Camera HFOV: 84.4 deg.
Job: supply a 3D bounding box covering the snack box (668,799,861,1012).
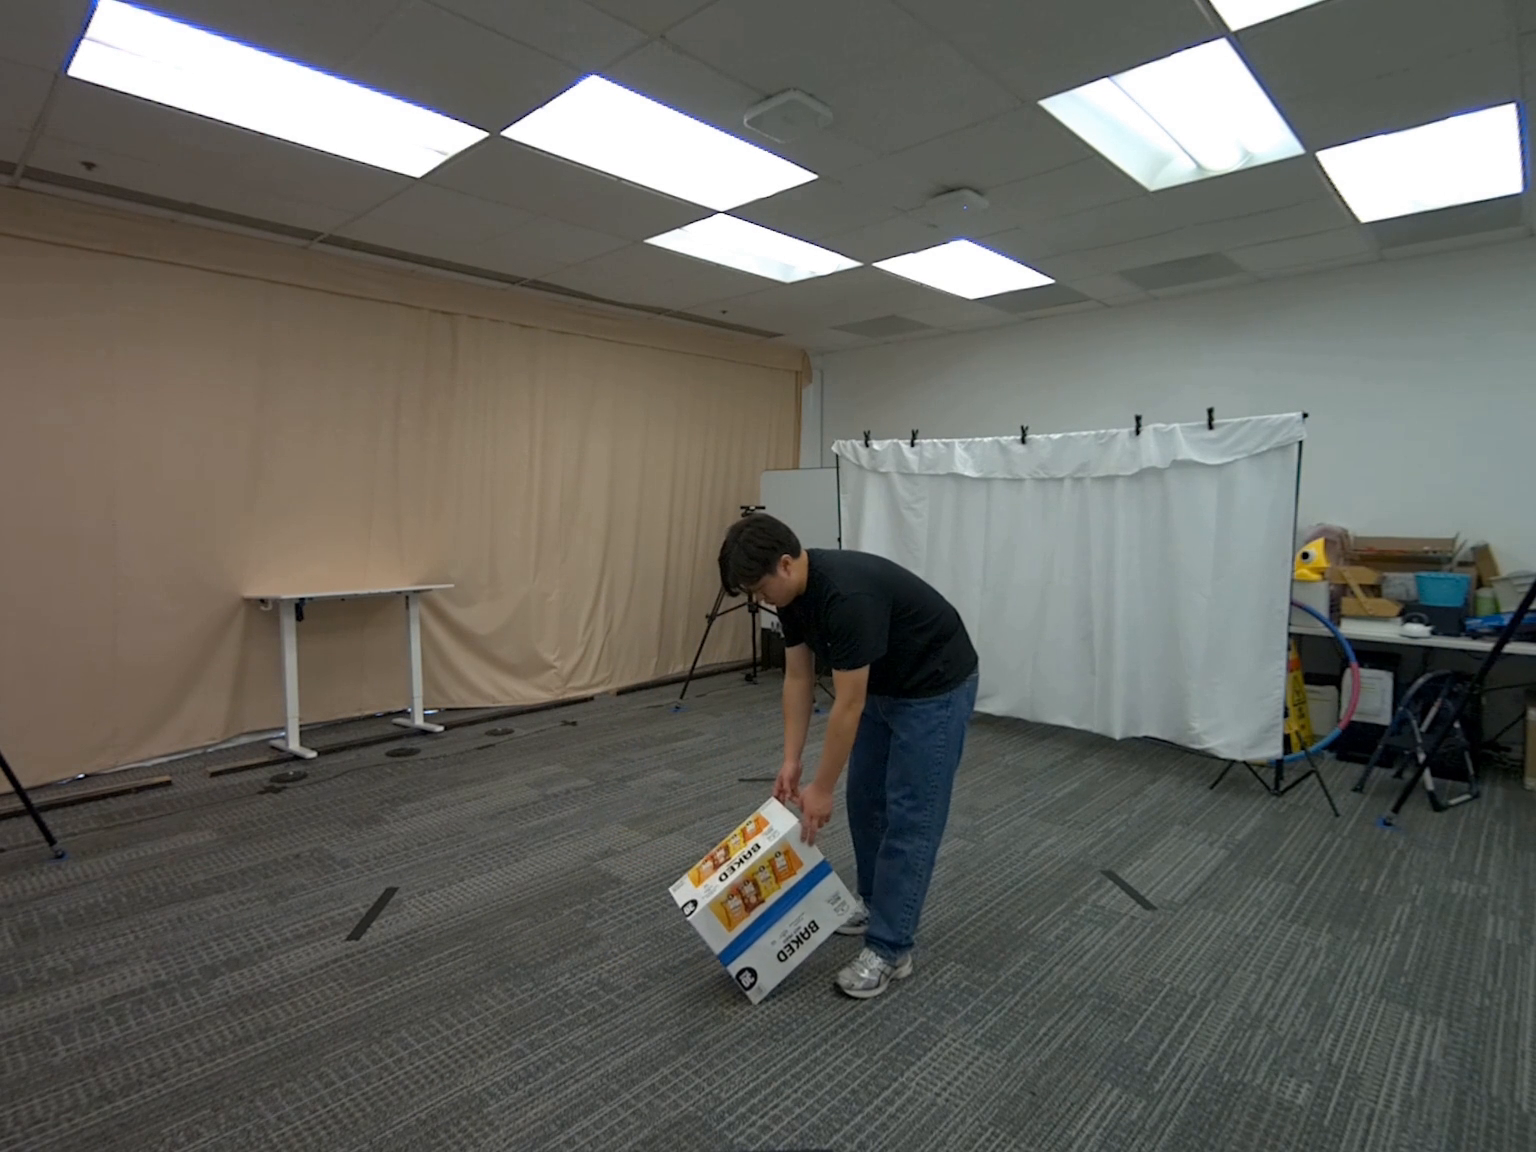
[{"bbox_3d":[-0.007,0.933,2.437,0.402,0.335,0.210,-37,14,-13],"label":"snack box"}]
